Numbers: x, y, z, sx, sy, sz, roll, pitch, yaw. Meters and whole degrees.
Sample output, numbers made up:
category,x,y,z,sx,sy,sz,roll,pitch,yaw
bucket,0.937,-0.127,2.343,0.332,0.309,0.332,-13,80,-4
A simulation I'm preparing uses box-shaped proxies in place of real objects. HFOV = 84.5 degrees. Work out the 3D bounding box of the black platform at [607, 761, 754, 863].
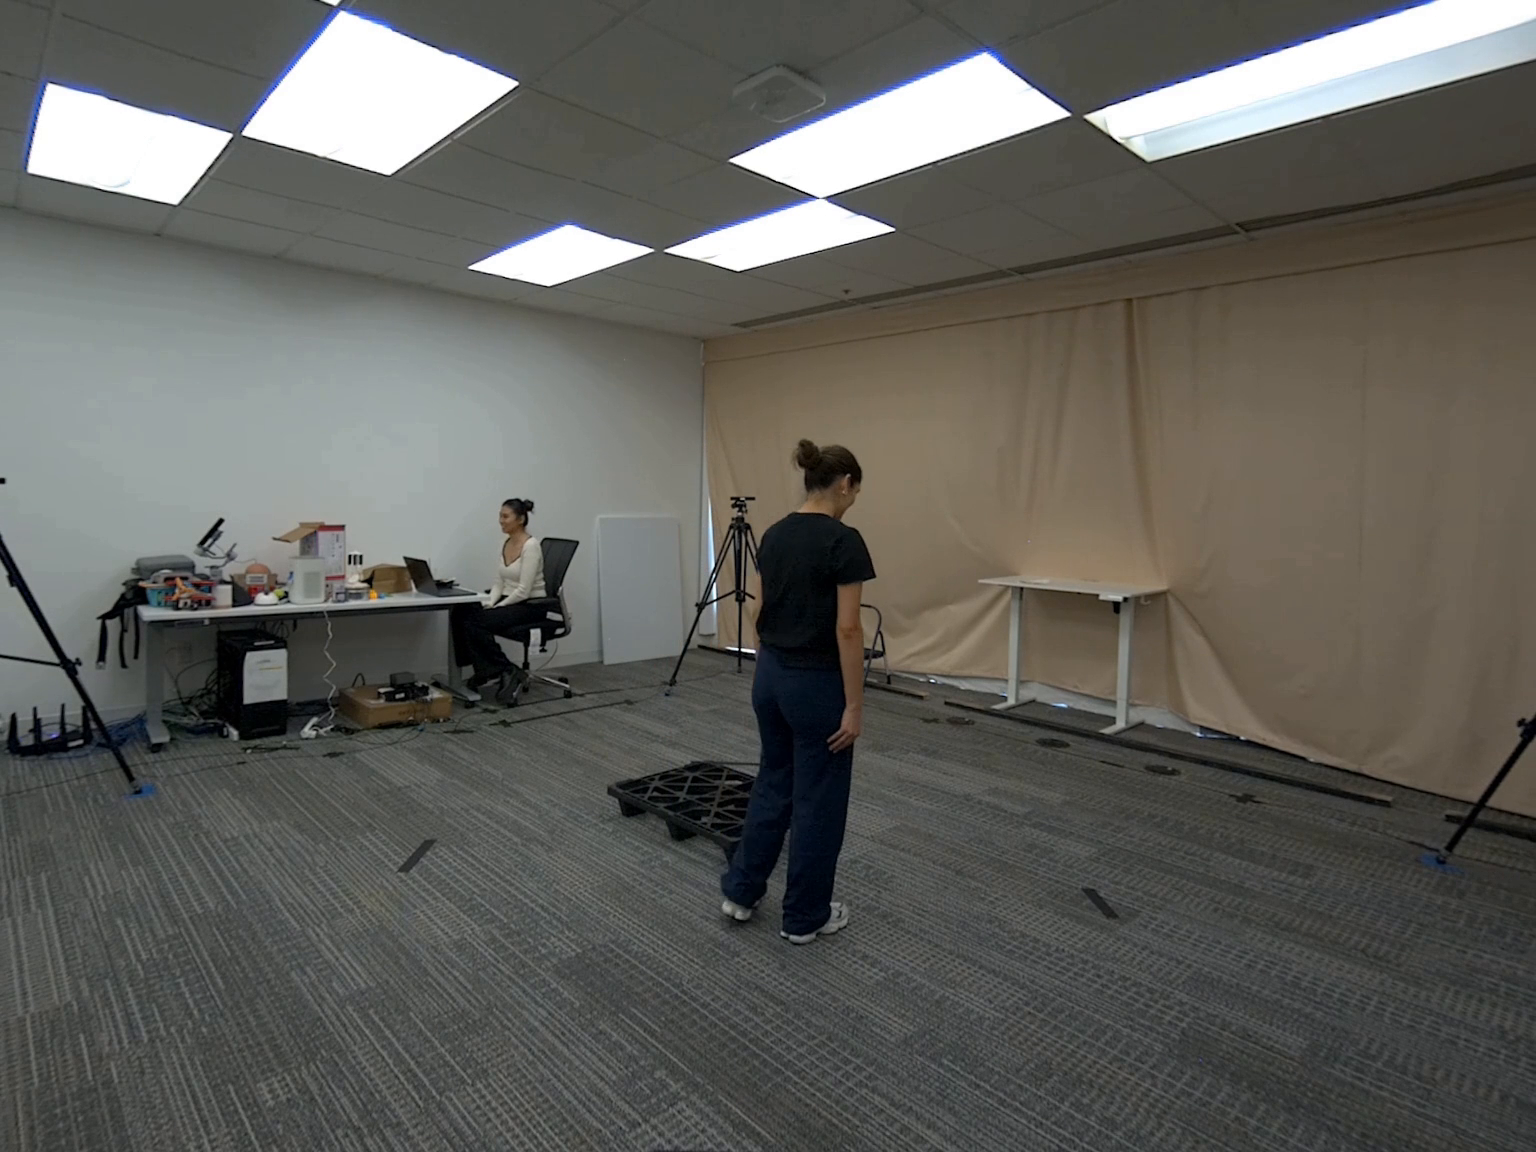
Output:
category,x,y,z,sx,sy,sz,roll,pitch,yaw
black platform,-0.221,1.000,3.563,0.826,0.143,0.591,6,7,45
